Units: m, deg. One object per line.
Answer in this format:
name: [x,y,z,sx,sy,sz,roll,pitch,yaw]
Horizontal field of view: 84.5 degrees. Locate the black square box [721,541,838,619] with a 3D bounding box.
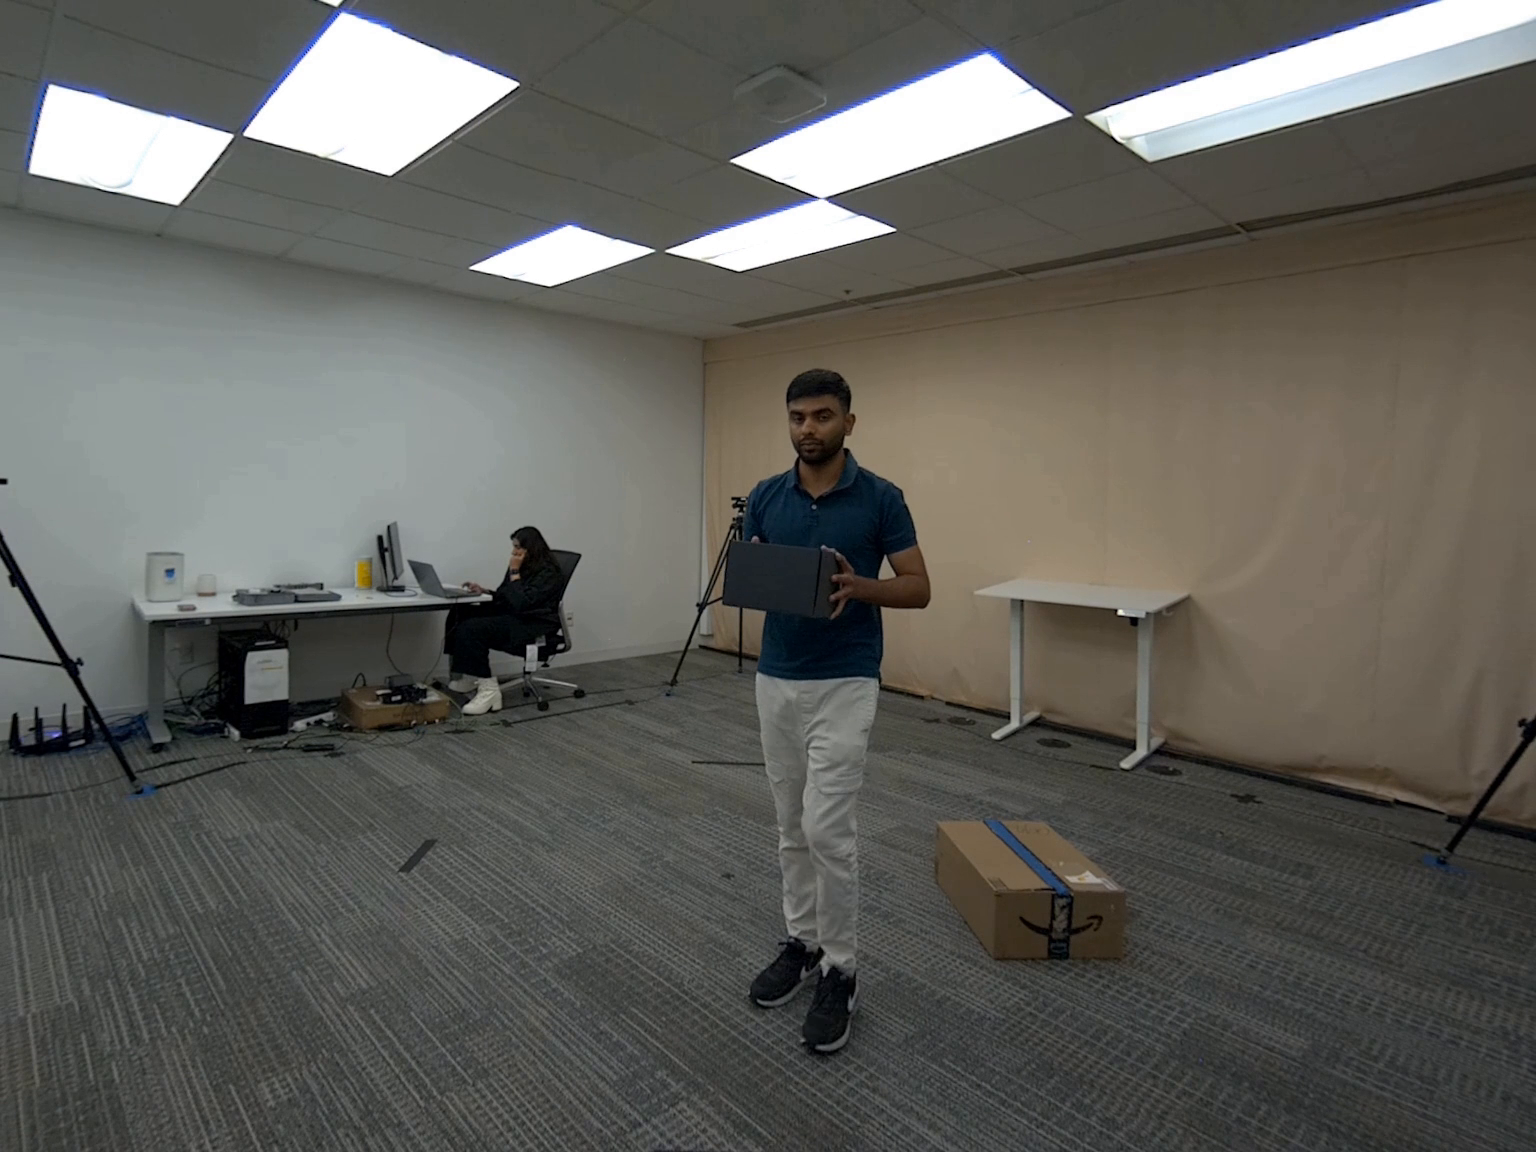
black square box: [0.031,0.009,2.032,0.232,0.156,0.213,5,-2,21]
